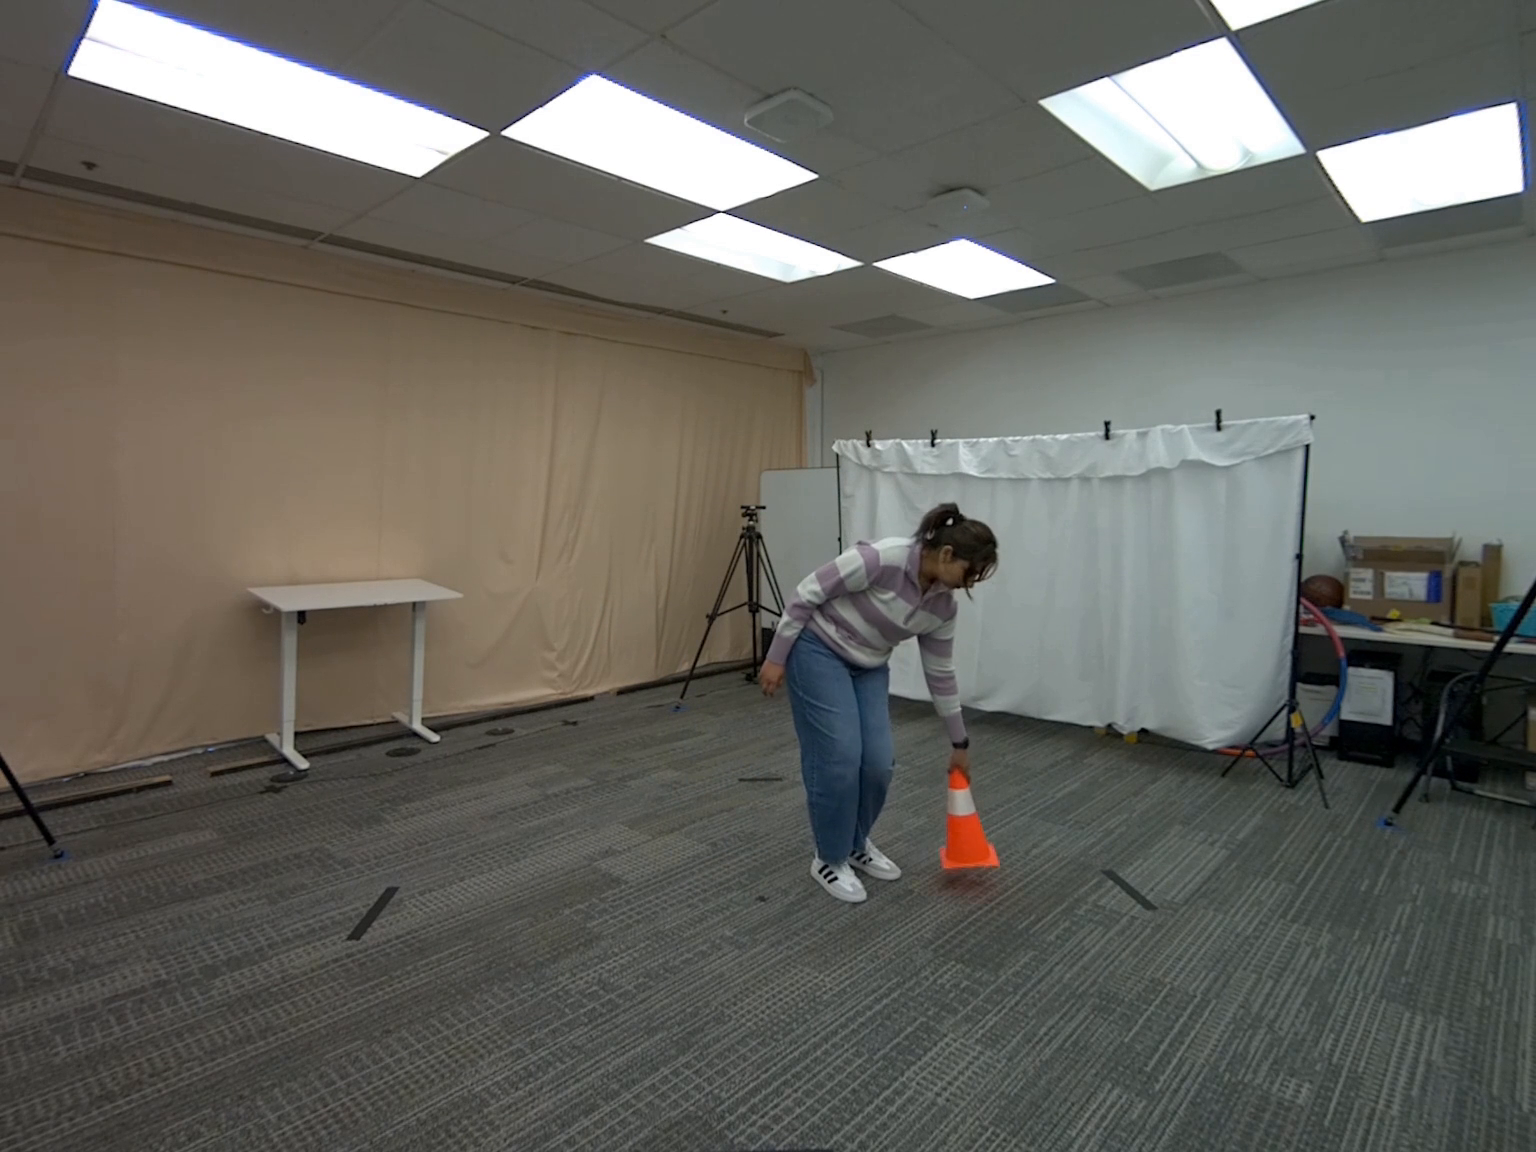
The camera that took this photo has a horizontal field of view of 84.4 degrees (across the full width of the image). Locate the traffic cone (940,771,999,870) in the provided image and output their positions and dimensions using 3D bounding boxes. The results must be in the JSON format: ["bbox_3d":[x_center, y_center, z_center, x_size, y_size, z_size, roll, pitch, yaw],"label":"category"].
[{"bbox_3d":[0.715,0.849,3.099,0.208,0.384,0.200,-8,-1,15],"label":"traffic cone"}]
